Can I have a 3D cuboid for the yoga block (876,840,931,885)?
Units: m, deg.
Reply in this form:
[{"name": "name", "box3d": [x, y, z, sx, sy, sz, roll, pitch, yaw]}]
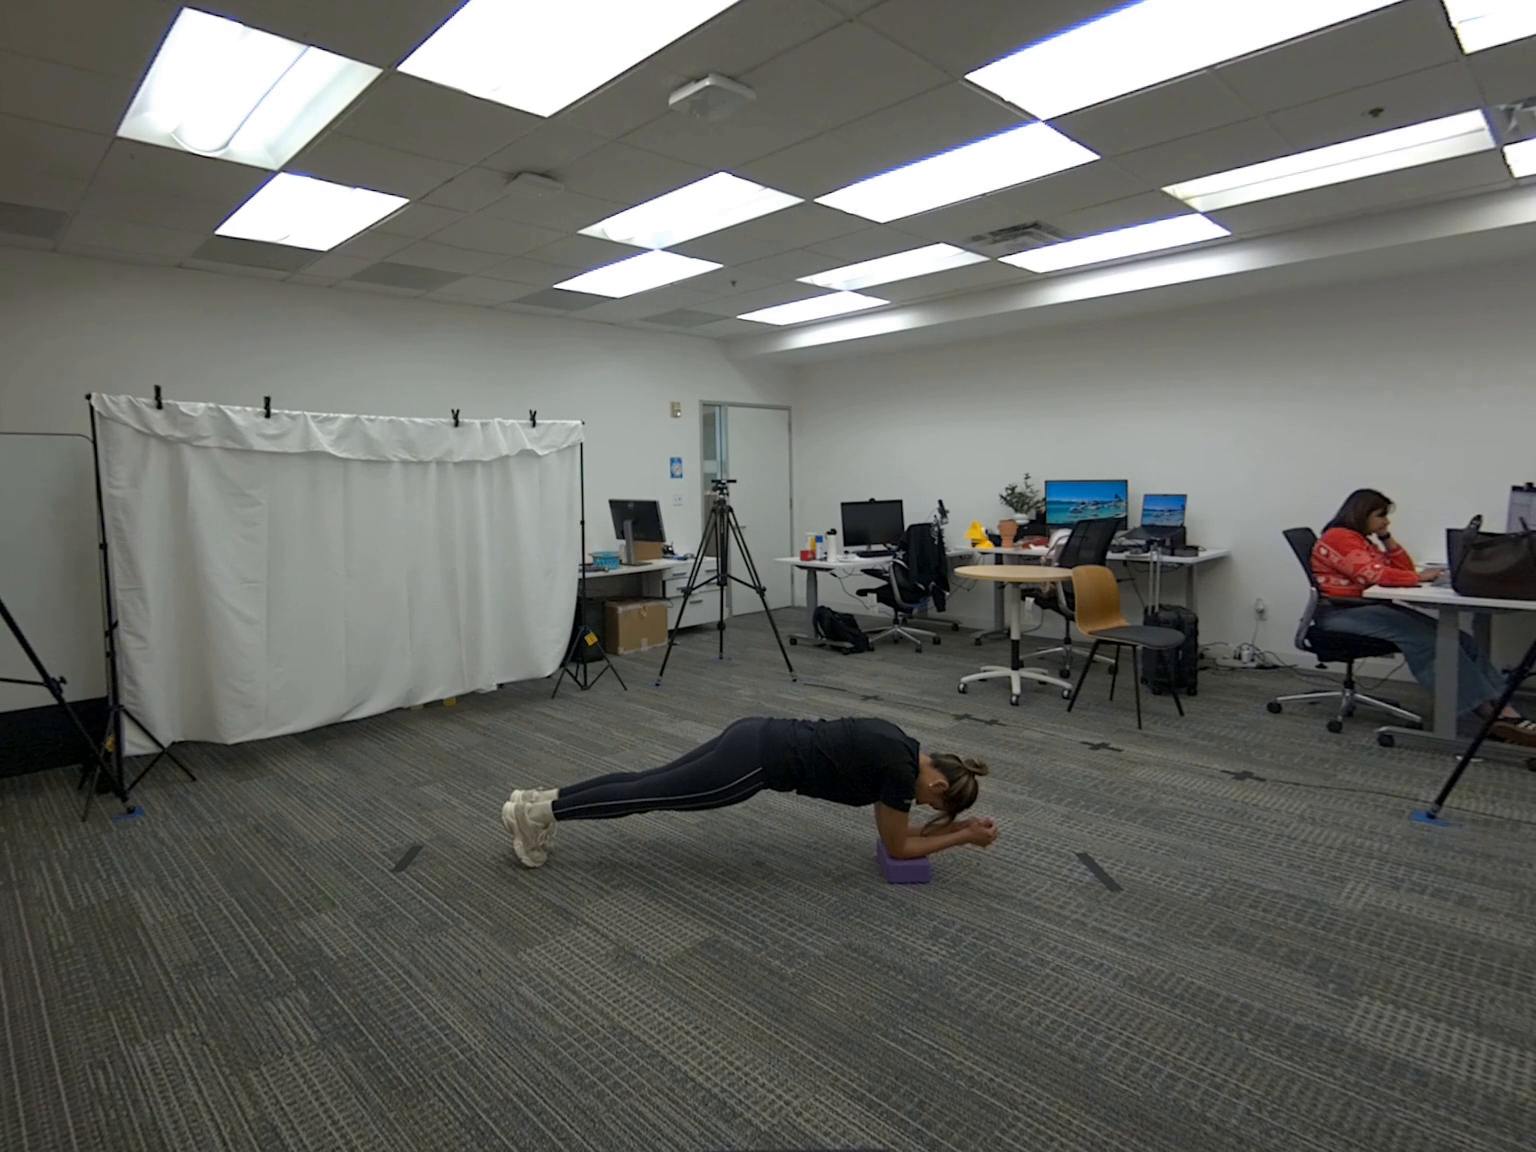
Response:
[{"name": "yoga block", "box3d": [0.477, 1.000, 3.040, 0.149, 0.076, 0.230, 0, 7, 0]}]
